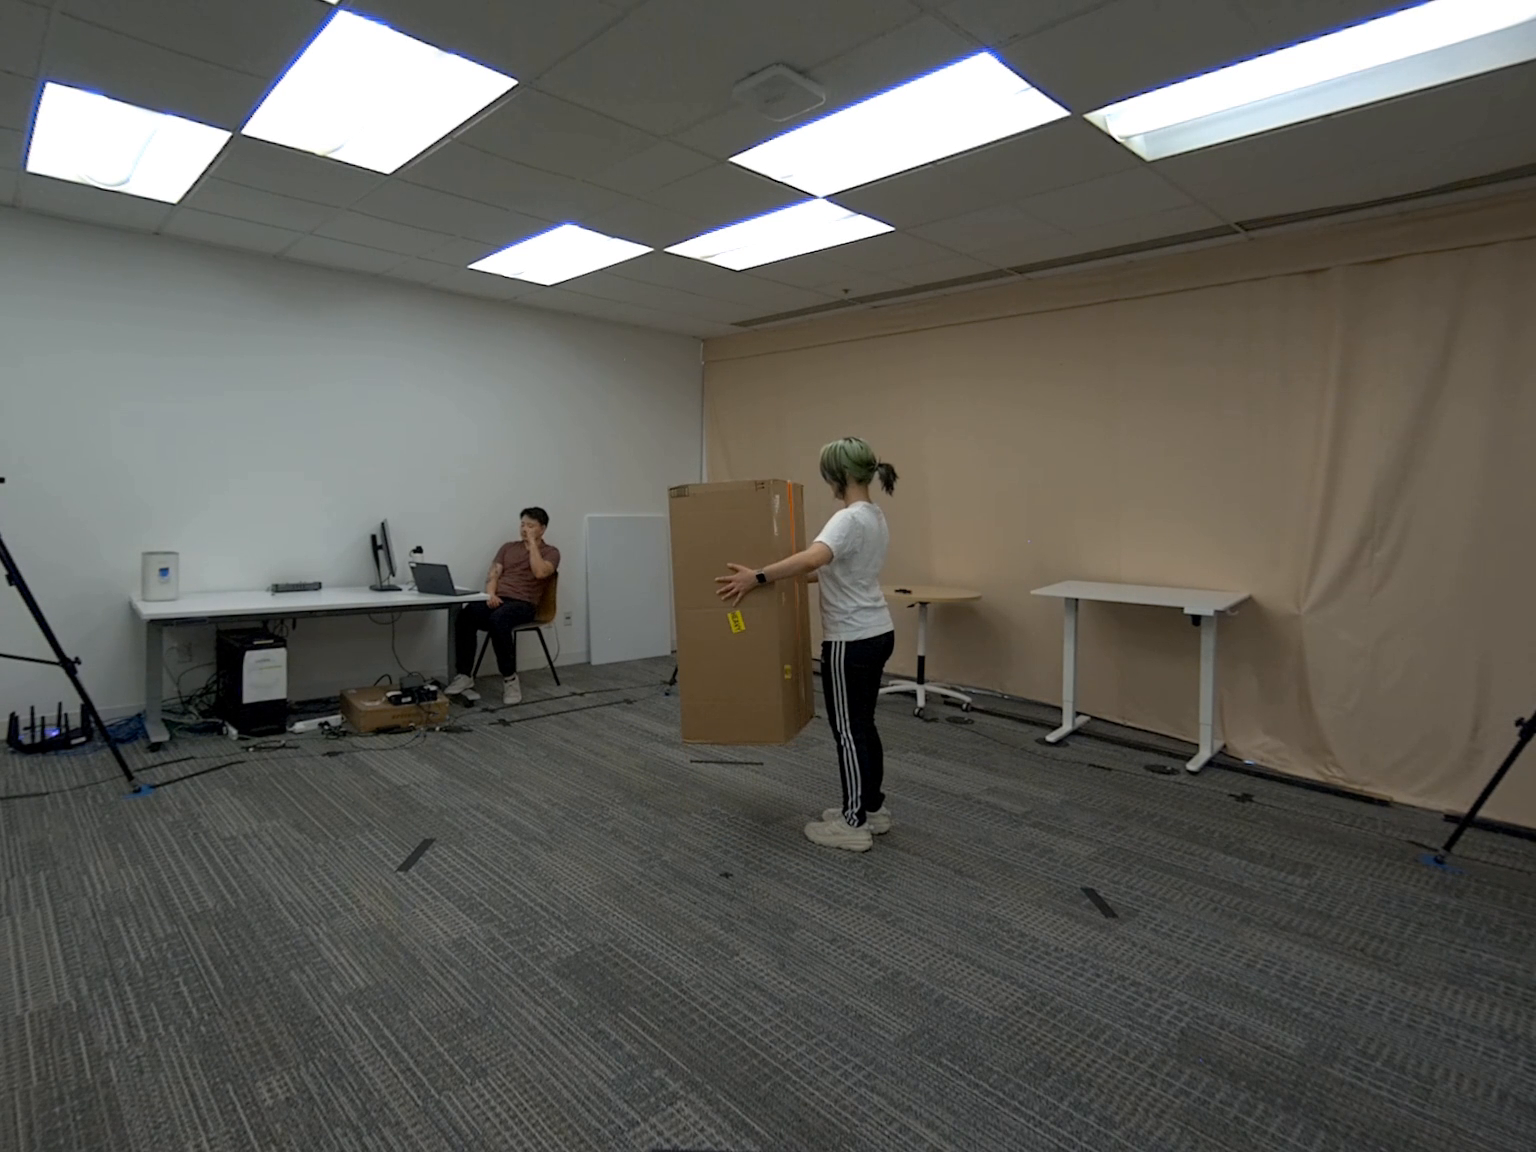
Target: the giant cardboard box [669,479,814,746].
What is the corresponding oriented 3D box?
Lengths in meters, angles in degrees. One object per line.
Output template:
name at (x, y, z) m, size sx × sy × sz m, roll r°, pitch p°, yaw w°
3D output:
giant cardboard box at (-0.094, 0.128, 3.530) m, size 0.431 × 1.026 × 0.570 m, roll -3°, pitch 0°, yaw 16°
